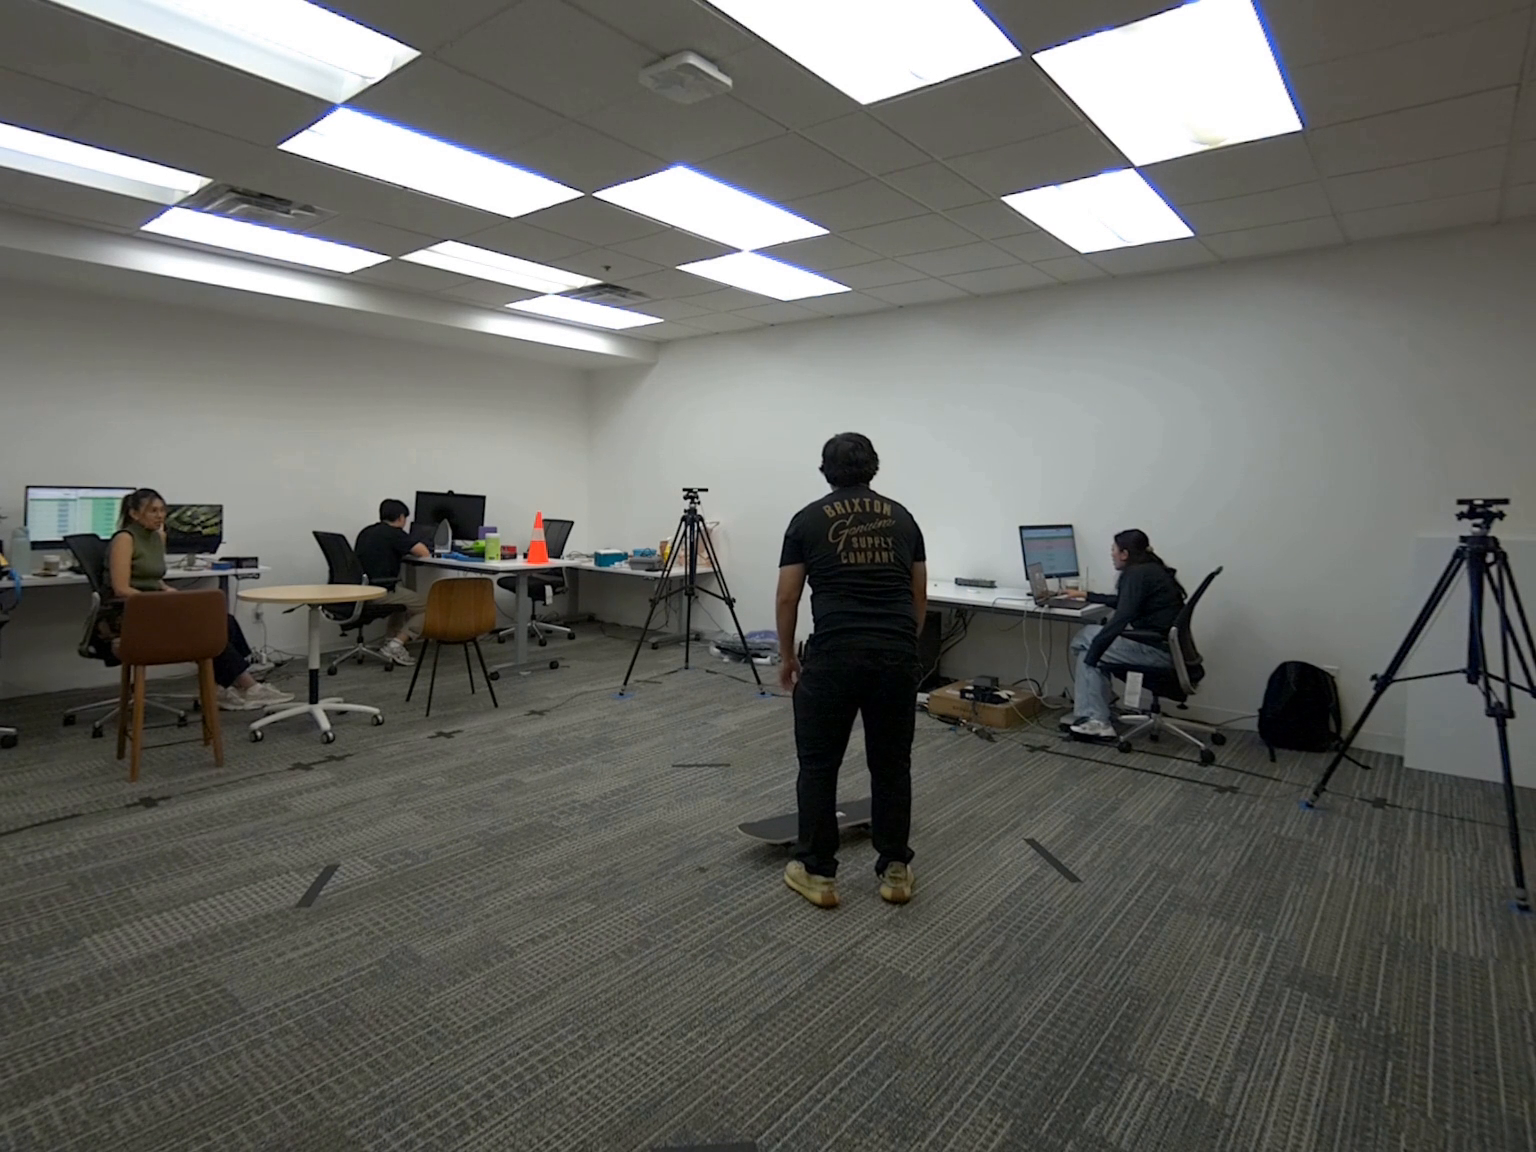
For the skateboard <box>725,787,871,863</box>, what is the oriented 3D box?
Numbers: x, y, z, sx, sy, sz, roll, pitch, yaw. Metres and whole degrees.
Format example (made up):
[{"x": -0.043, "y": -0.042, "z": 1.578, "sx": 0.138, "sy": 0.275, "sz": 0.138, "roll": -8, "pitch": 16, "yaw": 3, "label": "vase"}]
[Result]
[{"x": 0.212, "y": 0.987, "z": 3.396, "sx": 0.764, "sy": 0.110, "sz": 0.199, "roll": -2, "pitch": 5, "yaw": -31, "label": "skateboard"}]
